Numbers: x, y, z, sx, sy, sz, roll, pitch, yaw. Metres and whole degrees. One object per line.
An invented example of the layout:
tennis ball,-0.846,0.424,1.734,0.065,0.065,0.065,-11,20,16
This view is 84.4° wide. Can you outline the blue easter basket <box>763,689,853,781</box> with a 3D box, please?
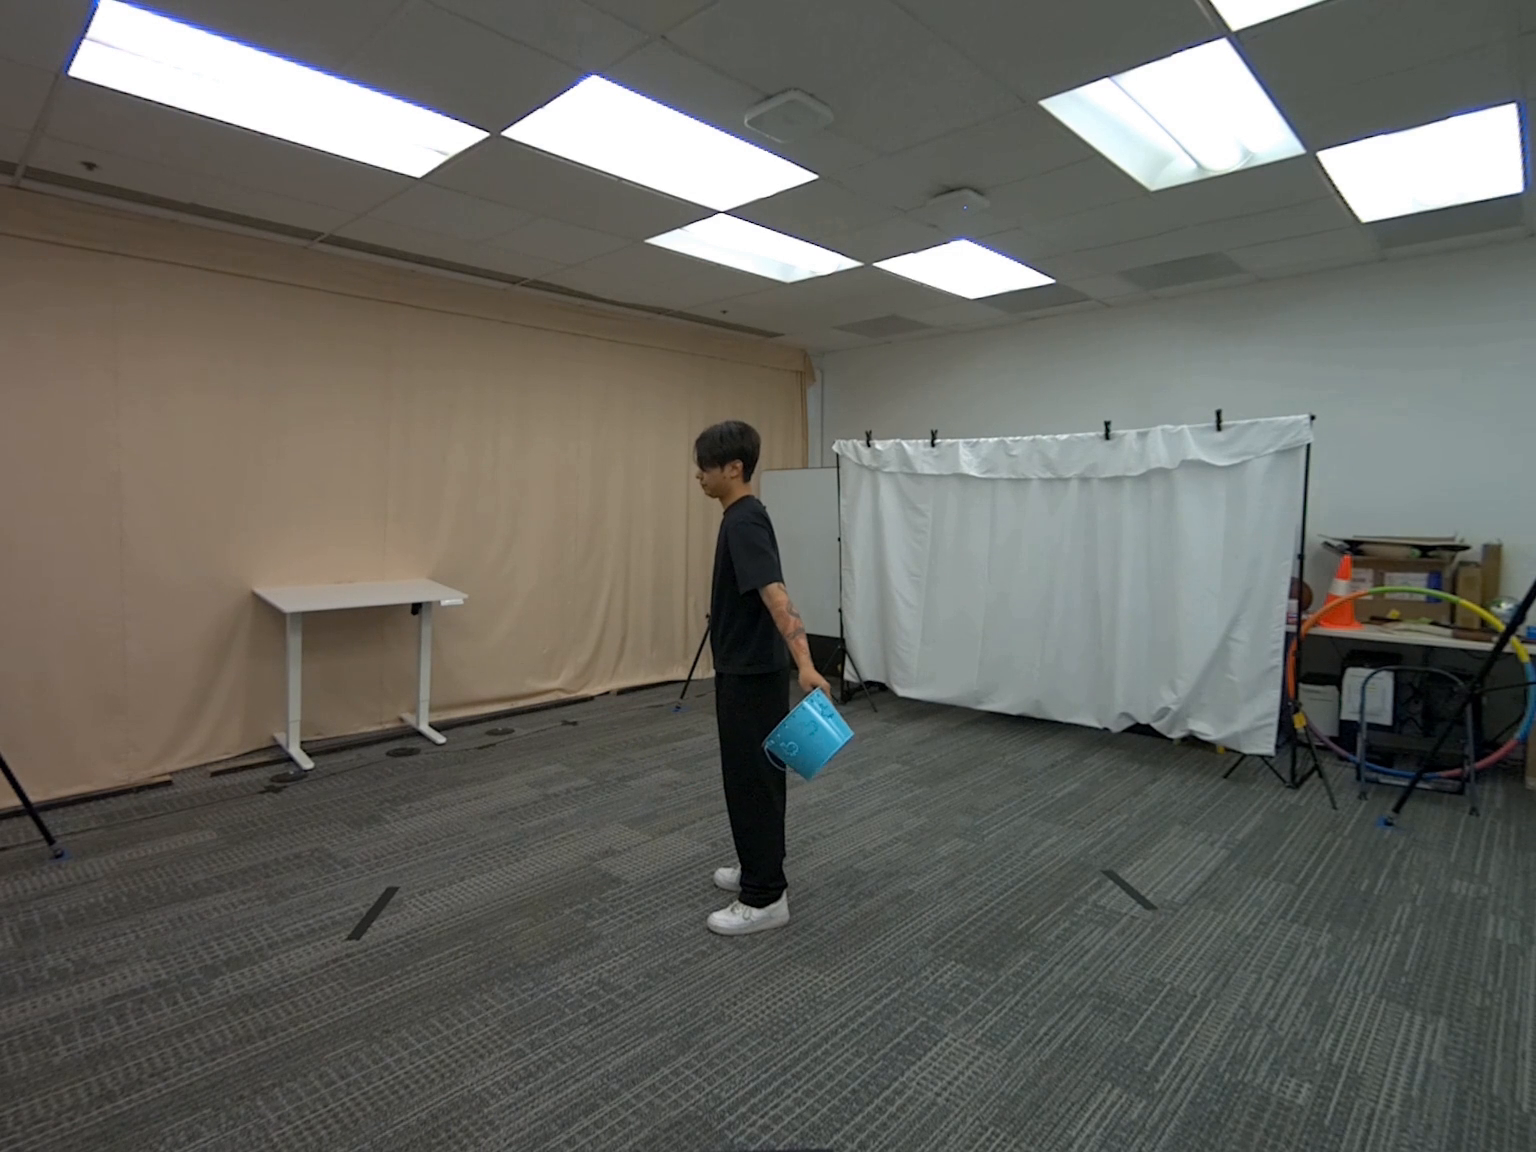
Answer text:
blue easter basket,0.108,0.446,2.307,0.158,0.244,0.238,45,18,13
